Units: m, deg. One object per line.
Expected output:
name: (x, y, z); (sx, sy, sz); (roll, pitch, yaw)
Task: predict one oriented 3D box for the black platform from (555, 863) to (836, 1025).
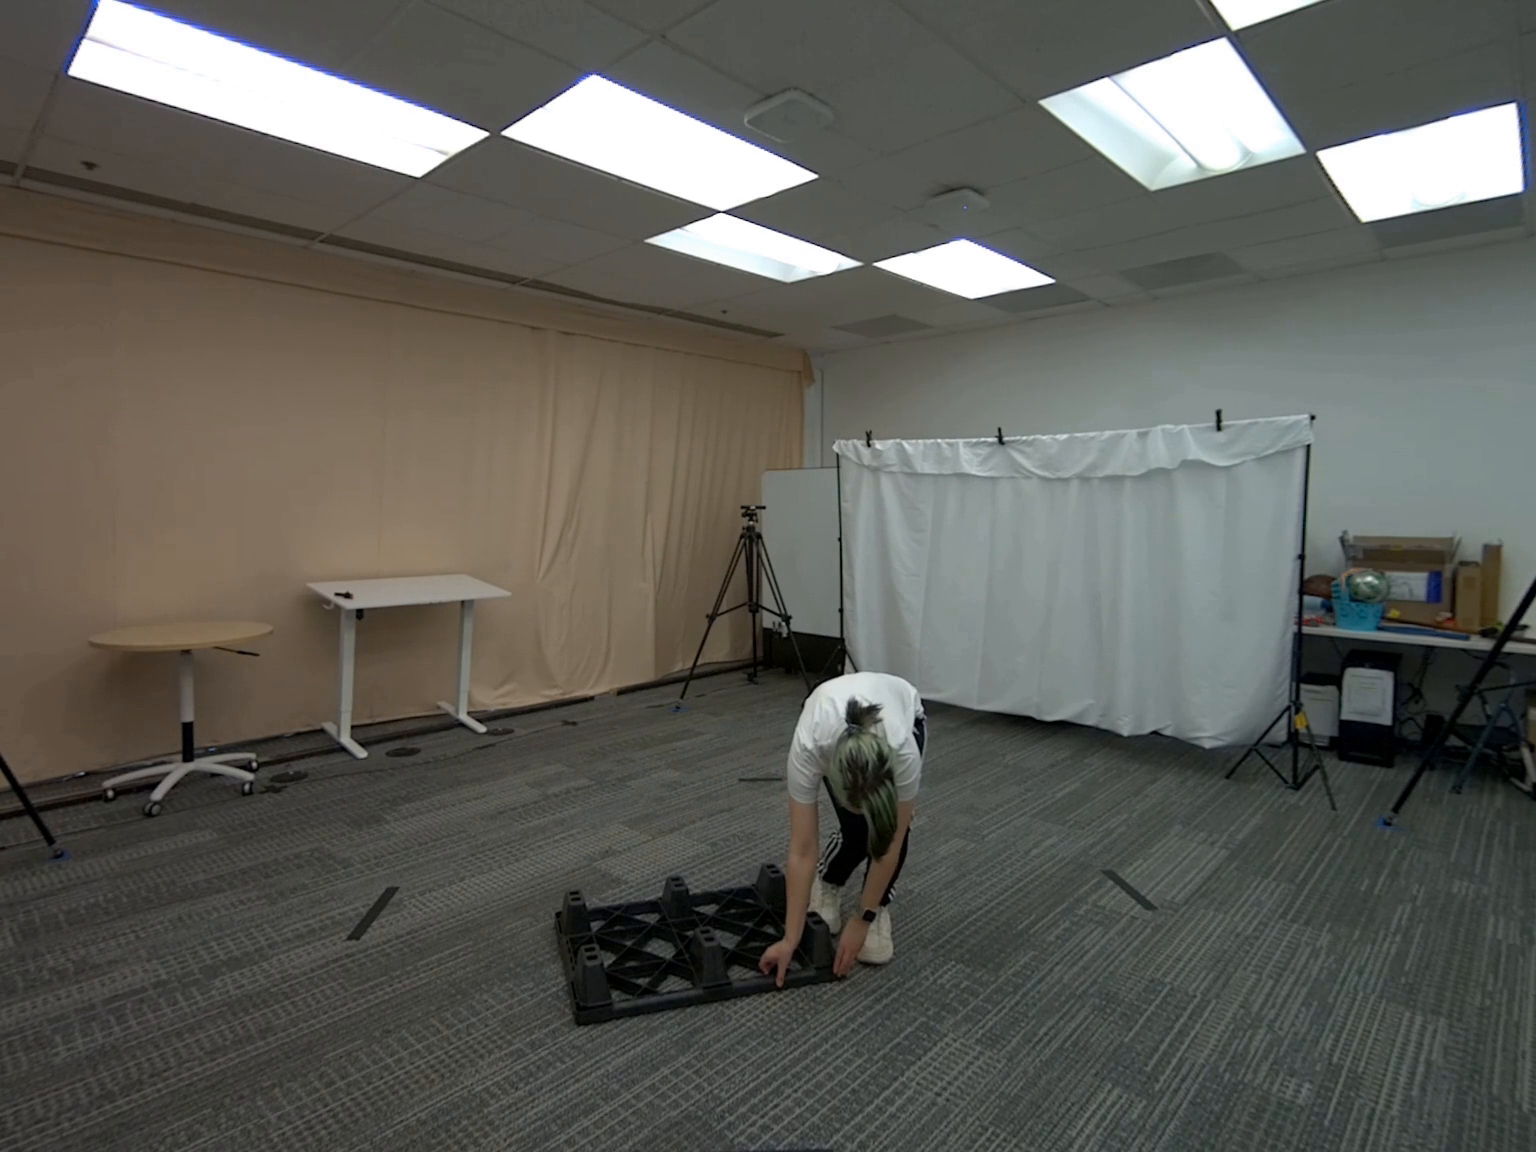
black platform: (-0.239, 1.106, 2.639); (0.791, 0.143, 0.618); (-2, 5, -19)
